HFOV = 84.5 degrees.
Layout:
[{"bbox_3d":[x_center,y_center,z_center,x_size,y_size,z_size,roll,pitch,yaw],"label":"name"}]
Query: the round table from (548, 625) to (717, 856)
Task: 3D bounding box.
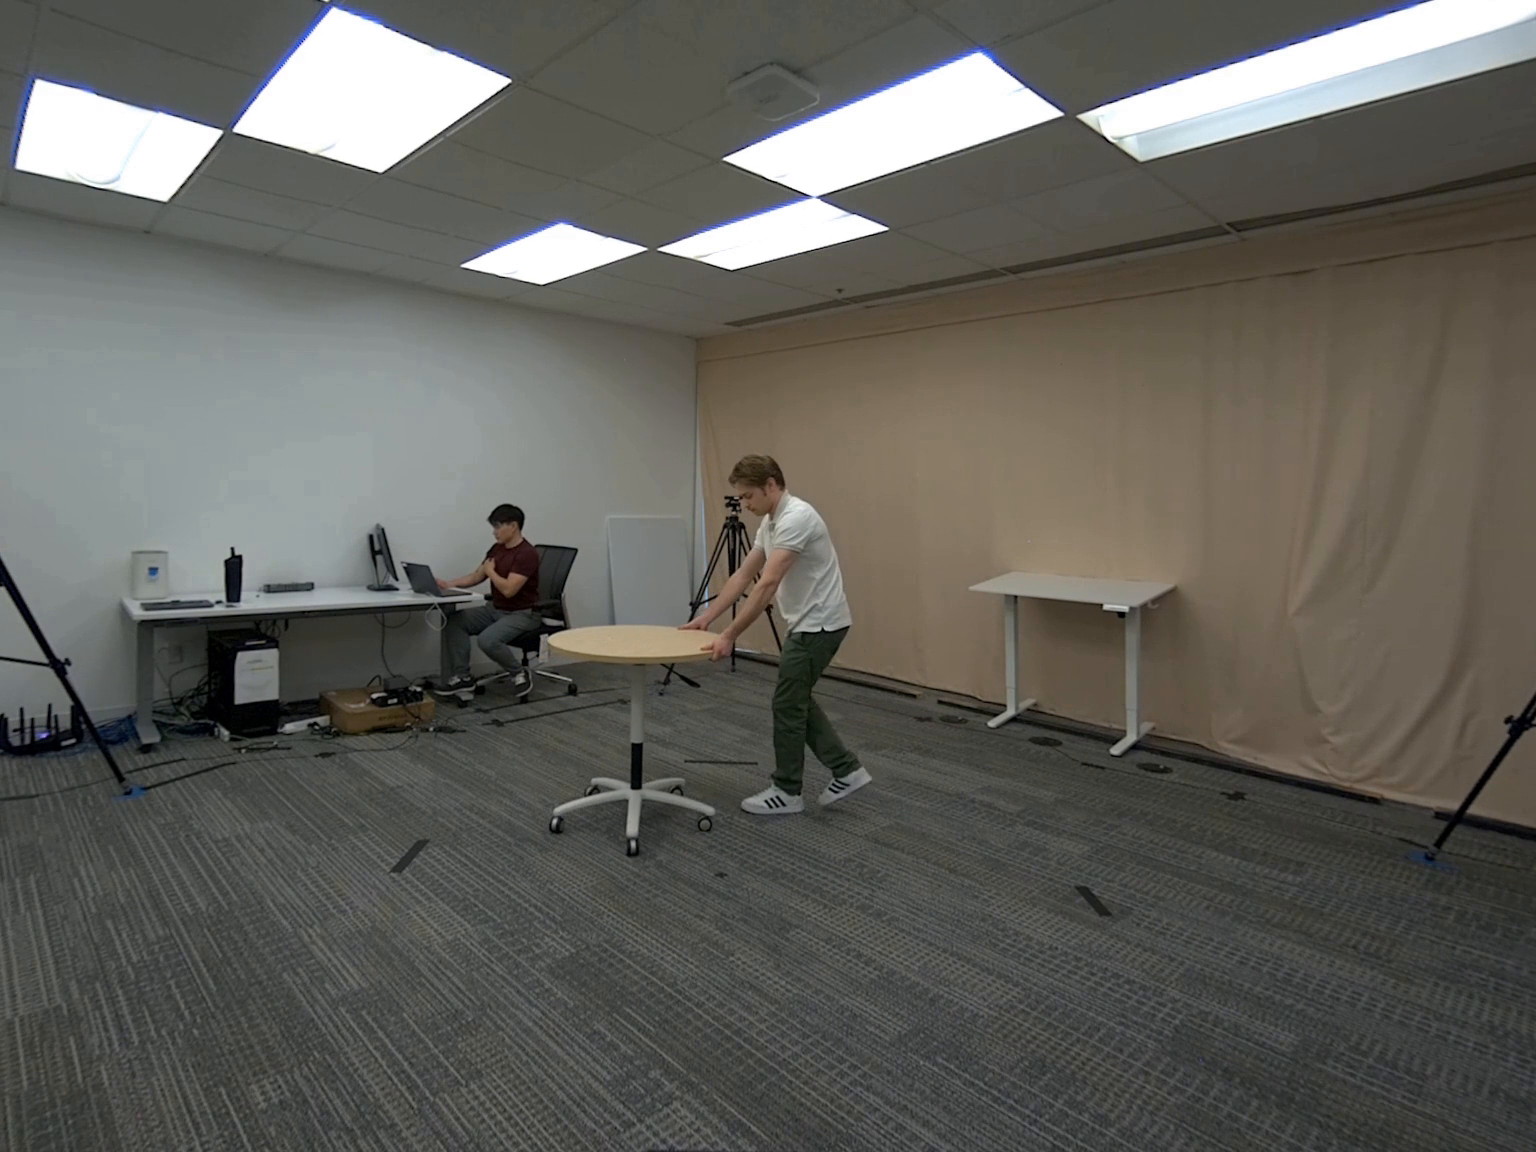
[{"bbox_3d":[-0.554,0.659,3.591,0.784,0.784,0.788,2,4,-2],"label":"round table"}]
